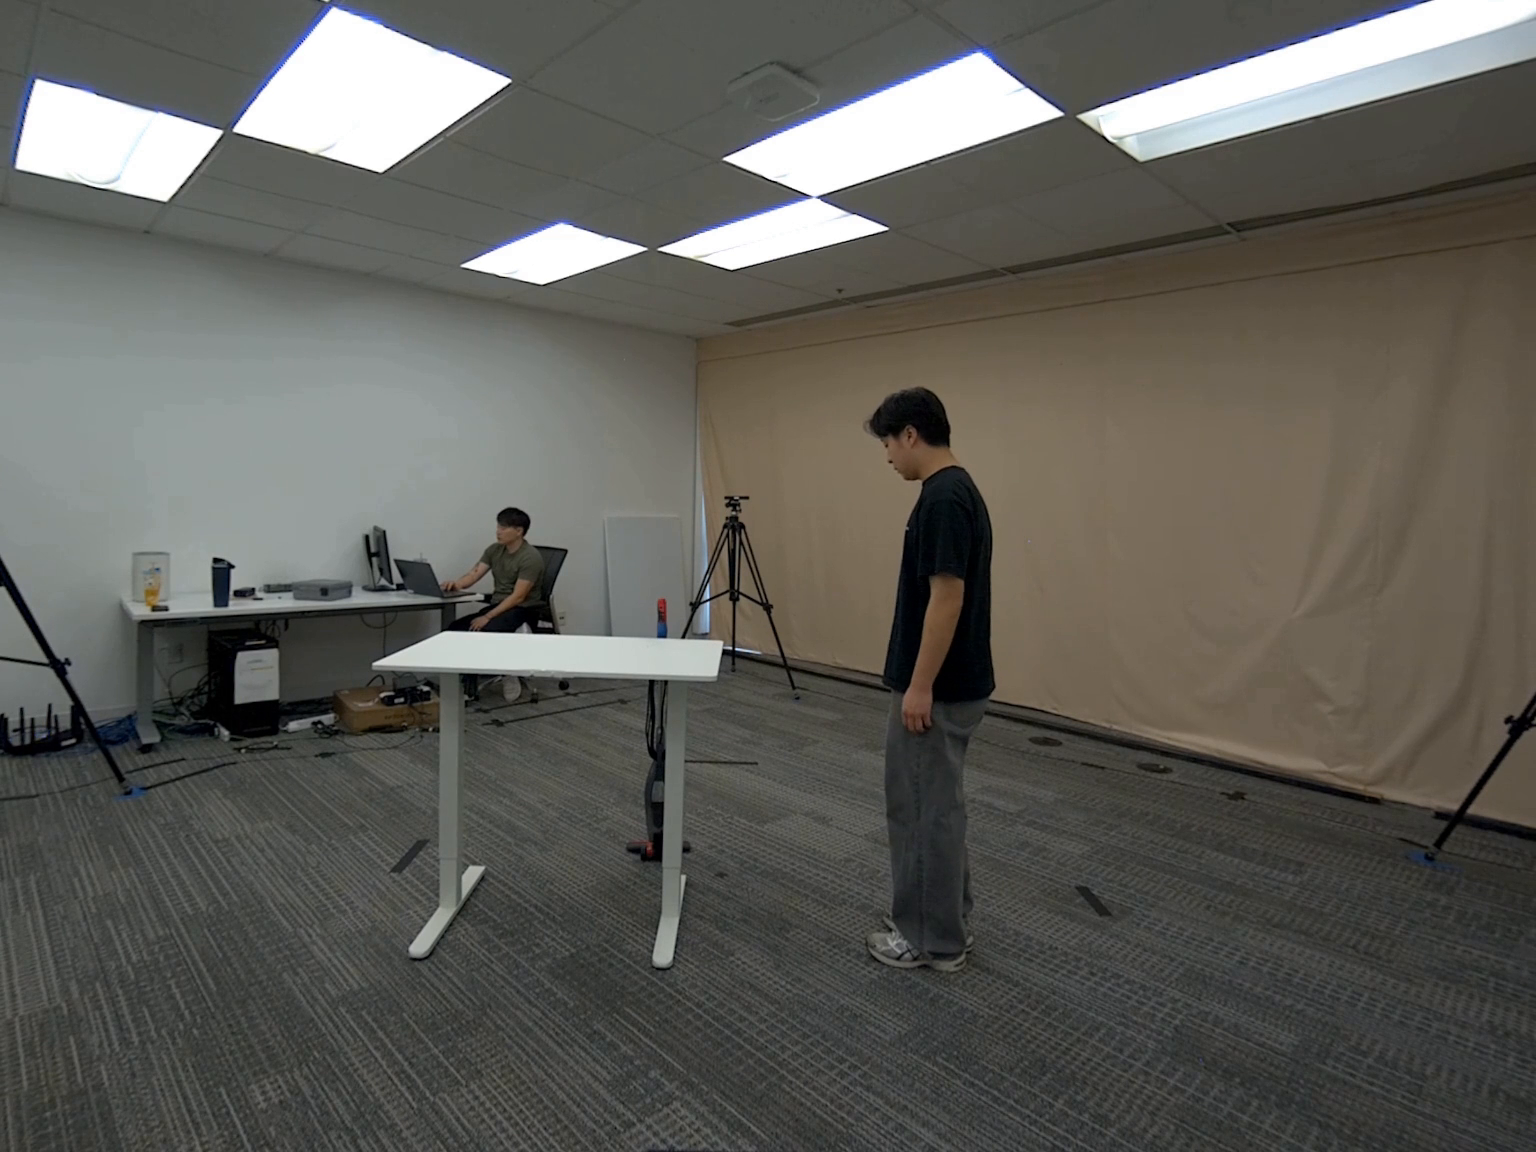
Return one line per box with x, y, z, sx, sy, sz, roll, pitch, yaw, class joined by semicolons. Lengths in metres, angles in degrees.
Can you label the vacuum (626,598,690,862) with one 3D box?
-0.407;0.588;3.124;0.251;1.037;0.146;2;17;-6;vacuum
